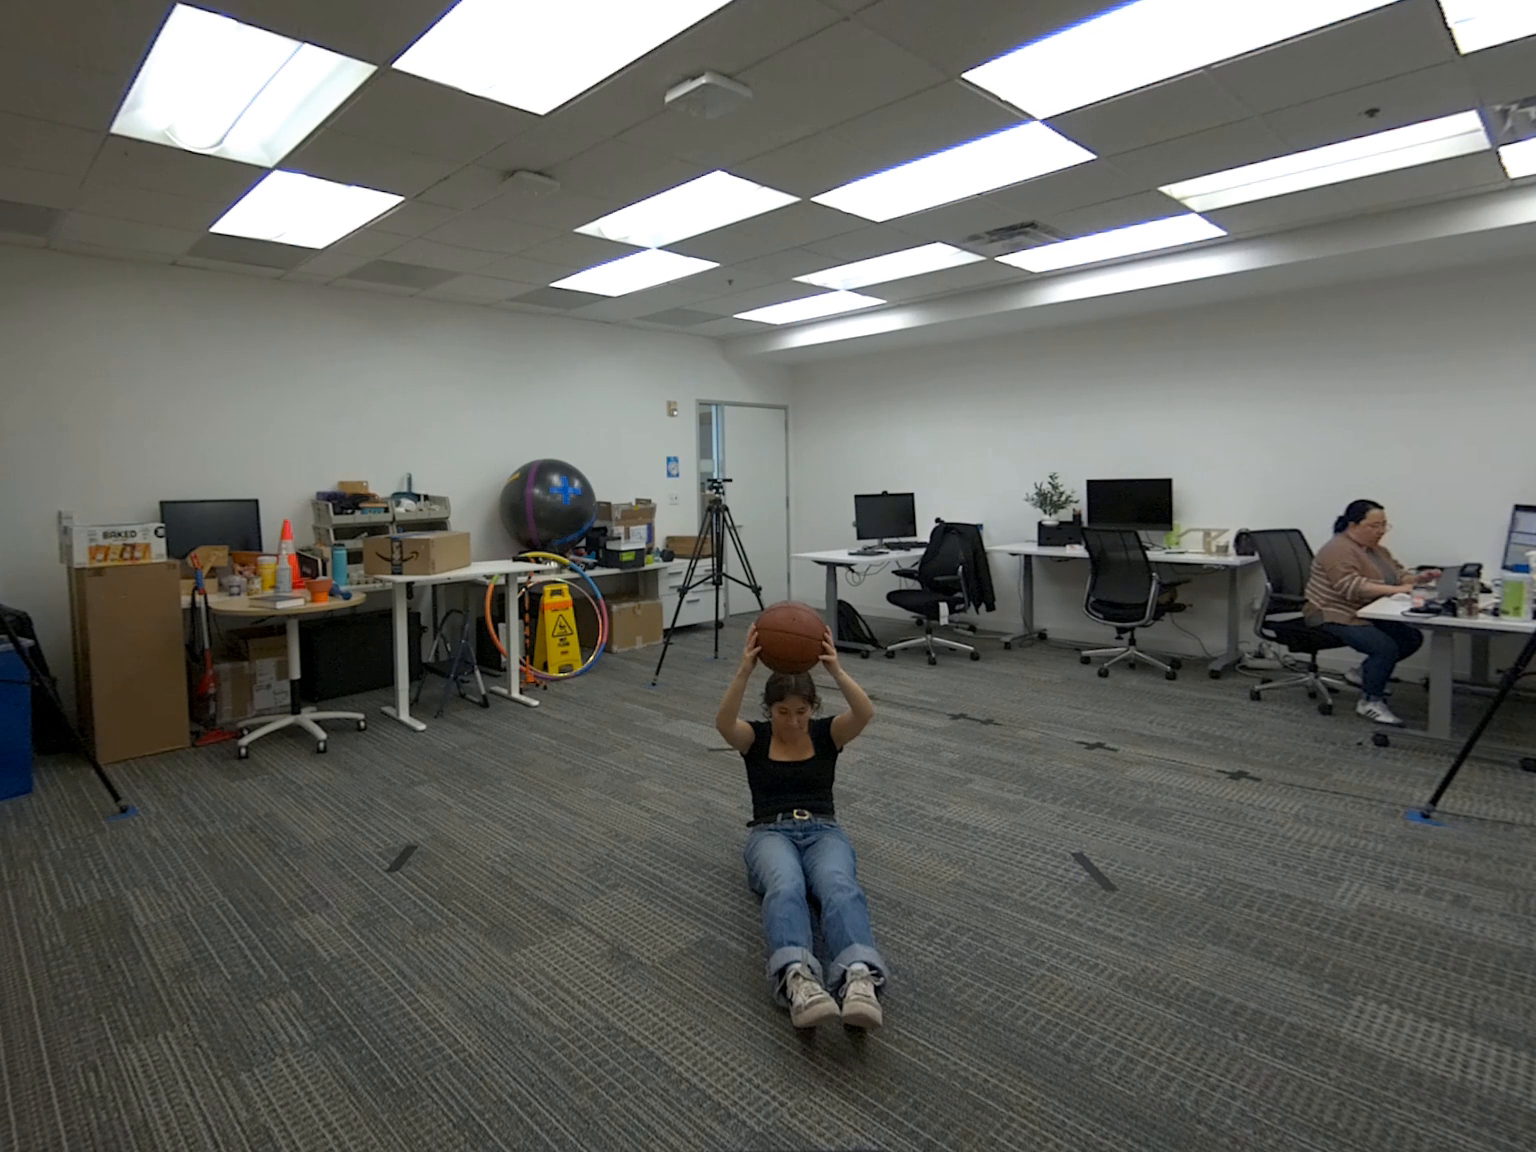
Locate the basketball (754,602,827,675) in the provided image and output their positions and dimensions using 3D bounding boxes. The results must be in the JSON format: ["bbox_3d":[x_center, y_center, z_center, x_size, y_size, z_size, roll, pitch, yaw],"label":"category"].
[{"bbox_3d":[0.072,0.199,2.742,0.236,0.235,0.237,-1,5,-2],"label":"basketball"}]
